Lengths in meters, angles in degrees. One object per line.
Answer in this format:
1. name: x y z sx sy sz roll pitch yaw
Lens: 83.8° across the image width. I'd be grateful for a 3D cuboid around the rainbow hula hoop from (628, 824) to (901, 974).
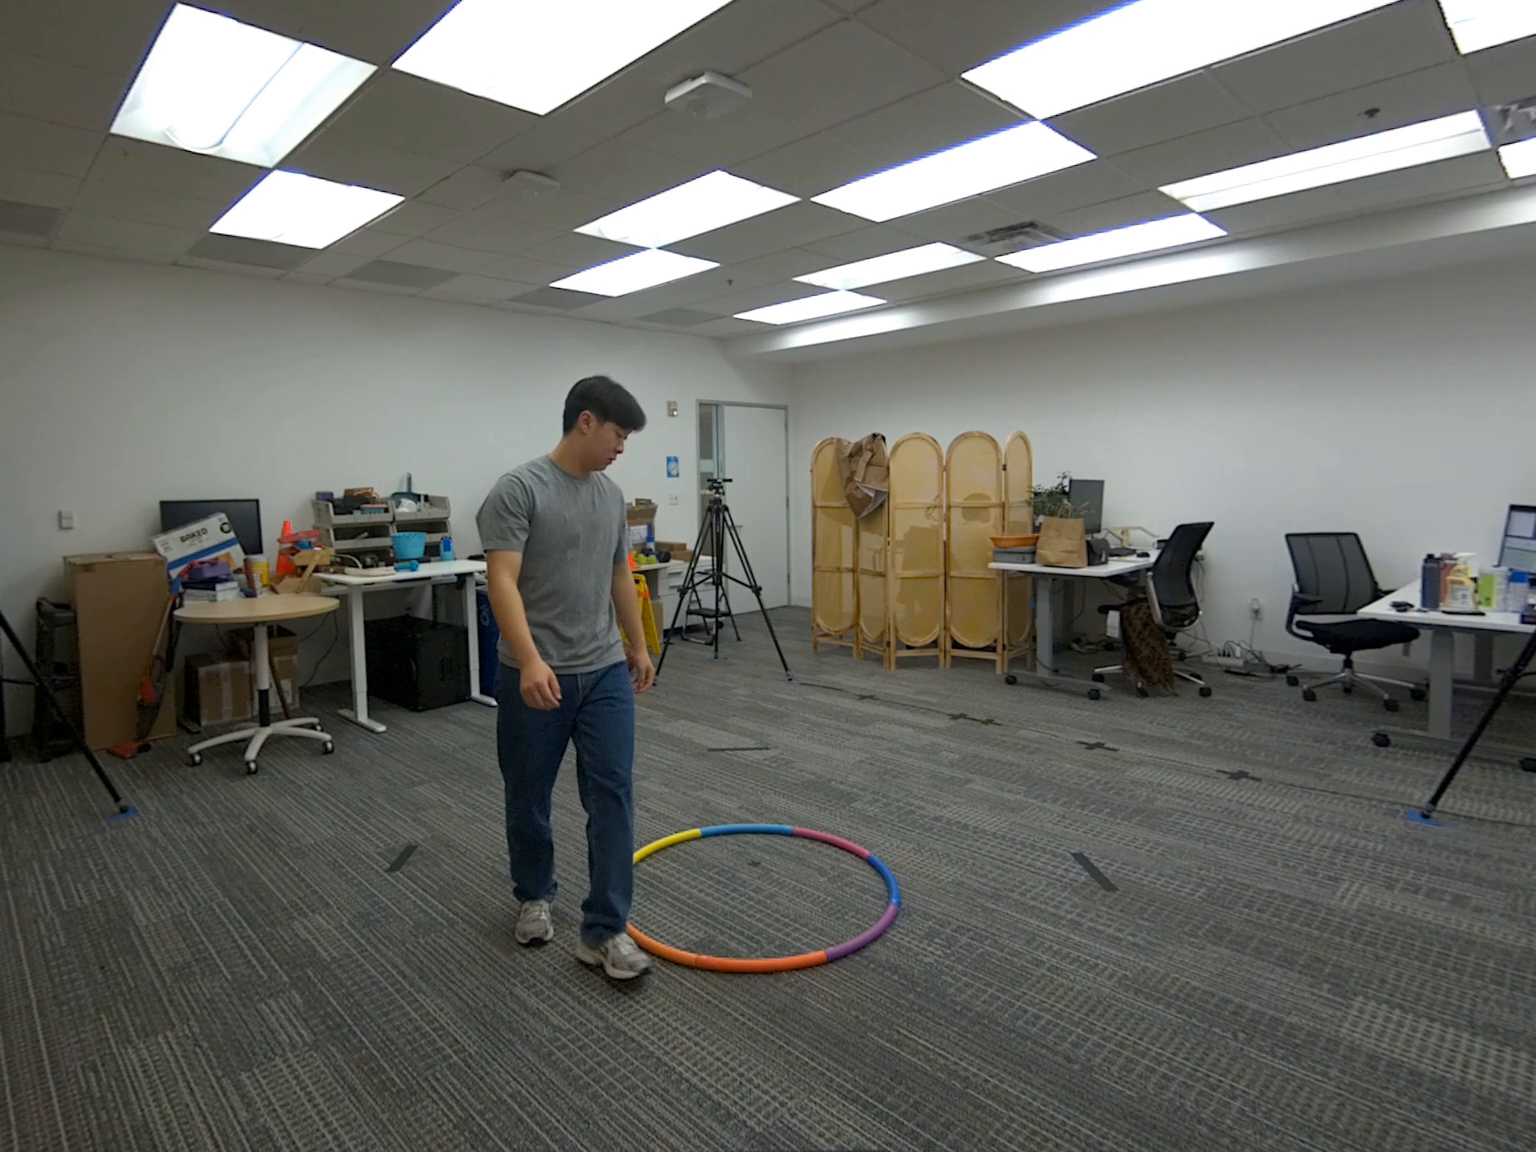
1. rainbow hula hoop: -0.056 1.039 2.900 0.978 0.035 0.984 -1 7 -2
